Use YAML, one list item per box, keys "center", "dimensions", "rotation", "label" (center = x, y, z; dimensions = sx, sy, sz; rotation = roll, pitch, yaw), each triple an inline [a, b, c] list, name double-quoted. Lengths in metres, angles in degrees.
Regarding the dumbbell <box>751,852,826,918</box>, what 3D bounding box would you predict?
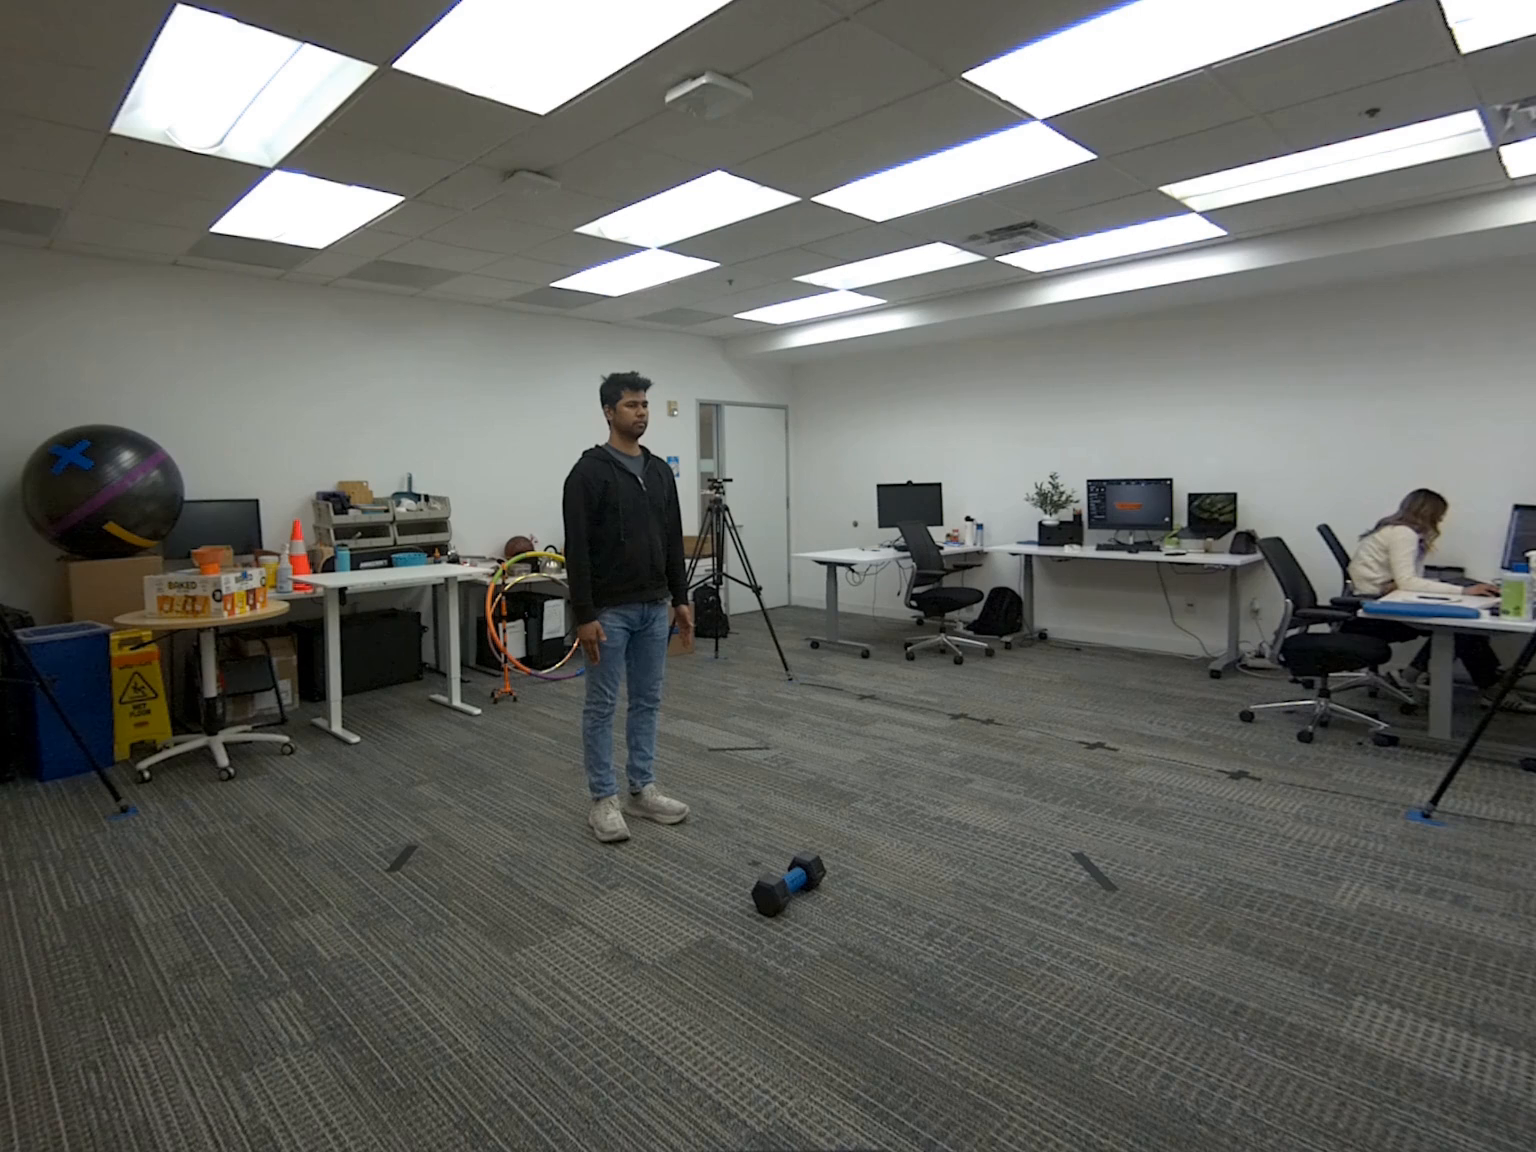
- center: [0.079, 1.018, 2.840]
  dimensions: [0.109, 0.125, 0.286]
  rotation: [-35, -15, 34]
  label: "dumbbell"
